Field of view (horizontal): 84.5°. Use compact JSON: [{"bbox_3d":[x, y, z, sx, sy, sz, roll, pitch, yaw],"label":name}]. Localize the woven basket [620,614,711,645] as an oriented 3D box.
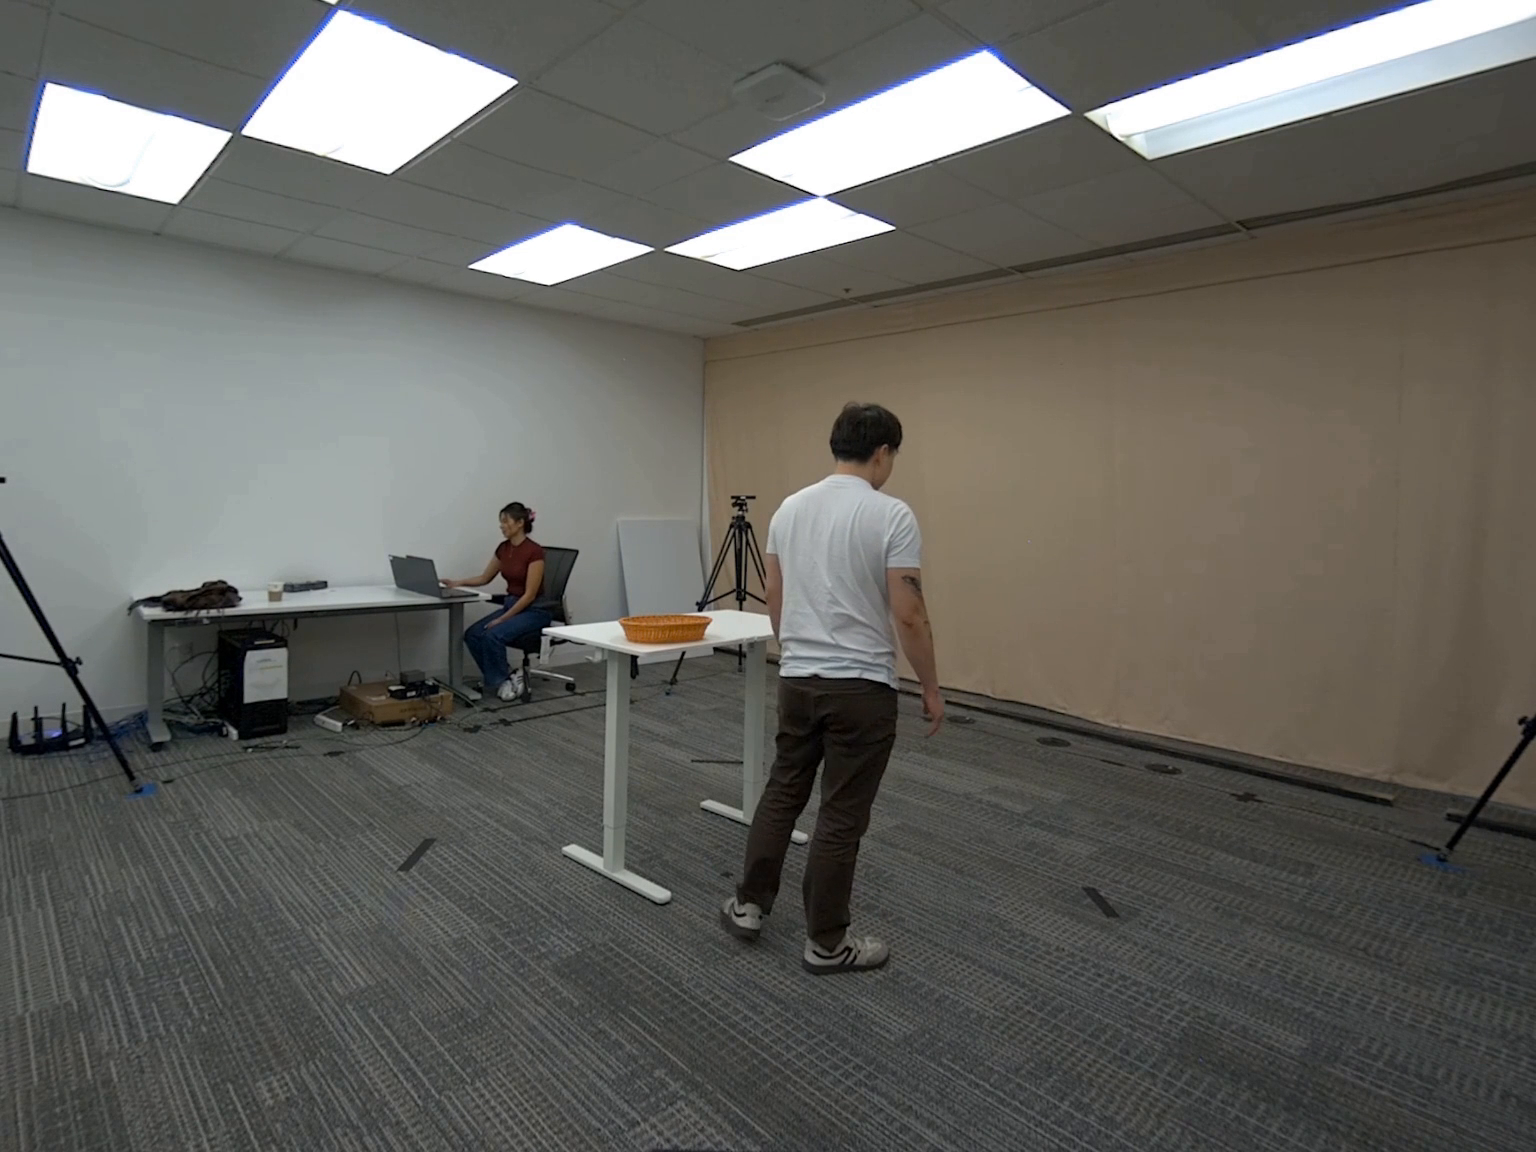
[{"bbox_3d":[-0.386,0.191,3.005,0.343,0.073,0.258,-2,6,-32],"label":"woven basket"}]
